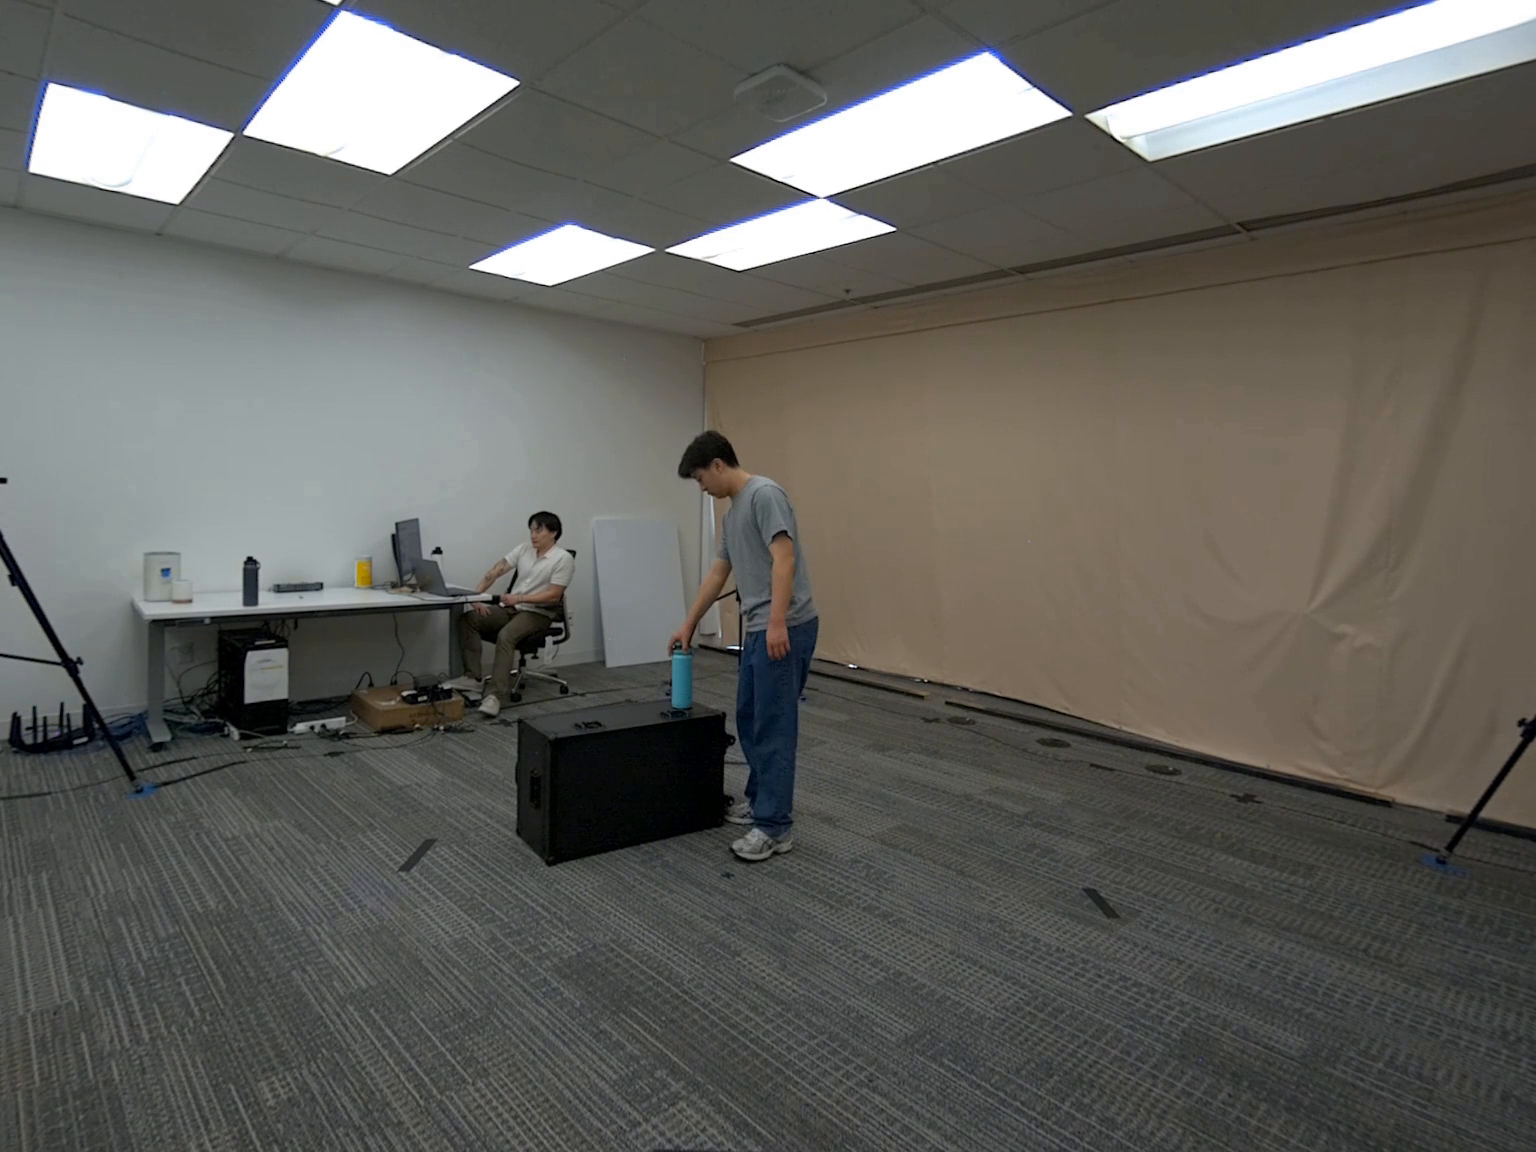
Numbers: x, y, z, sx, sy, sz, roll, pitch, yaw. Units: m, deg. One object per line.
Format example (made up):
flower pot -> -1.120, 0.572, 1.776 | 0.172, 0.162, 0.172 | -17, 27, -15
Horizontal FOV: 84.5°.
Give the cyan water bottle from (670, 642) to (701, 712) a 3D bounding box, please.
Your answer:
cyan water bottle -> -0.358, 0.430, 3.659 | 0.092, 0.283, 0.092 | 7, 0, -1
